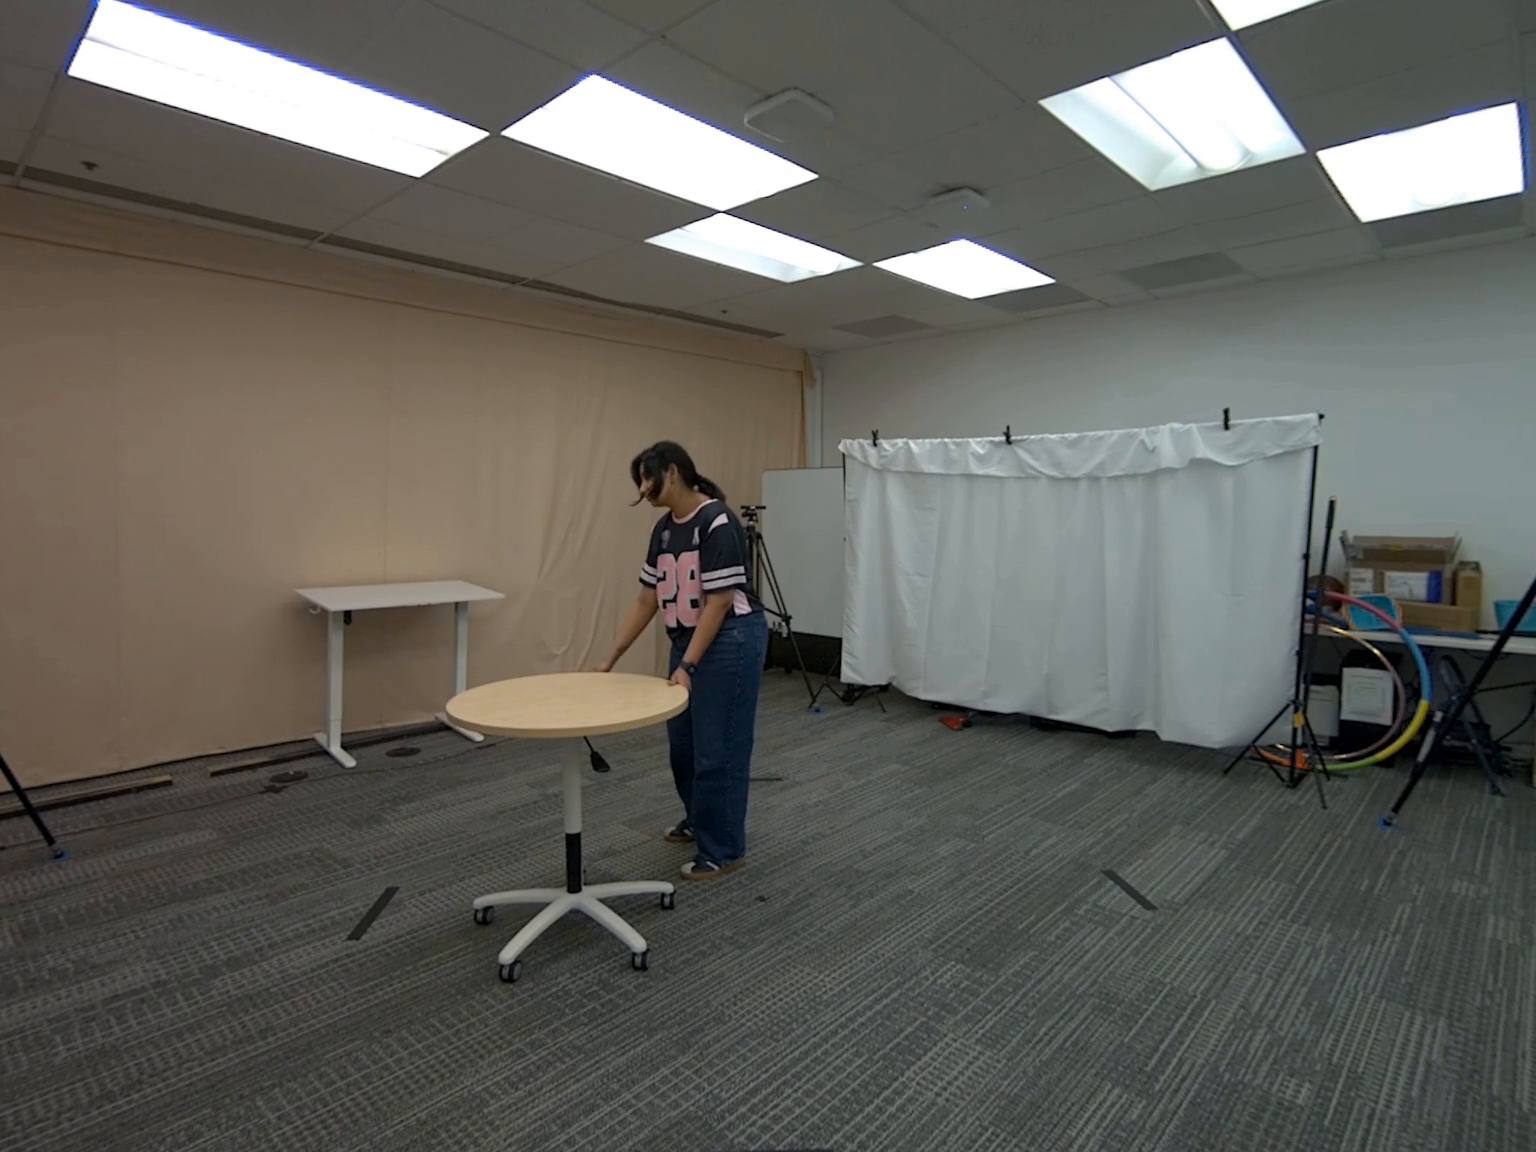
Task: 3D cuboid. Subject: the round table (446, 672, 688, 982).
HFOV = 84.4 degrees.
[{"bbox_3d":[-0.633,0.776,2.752,0.784,0.784,0.788,-1,4,-2],"label":"round table"}]
